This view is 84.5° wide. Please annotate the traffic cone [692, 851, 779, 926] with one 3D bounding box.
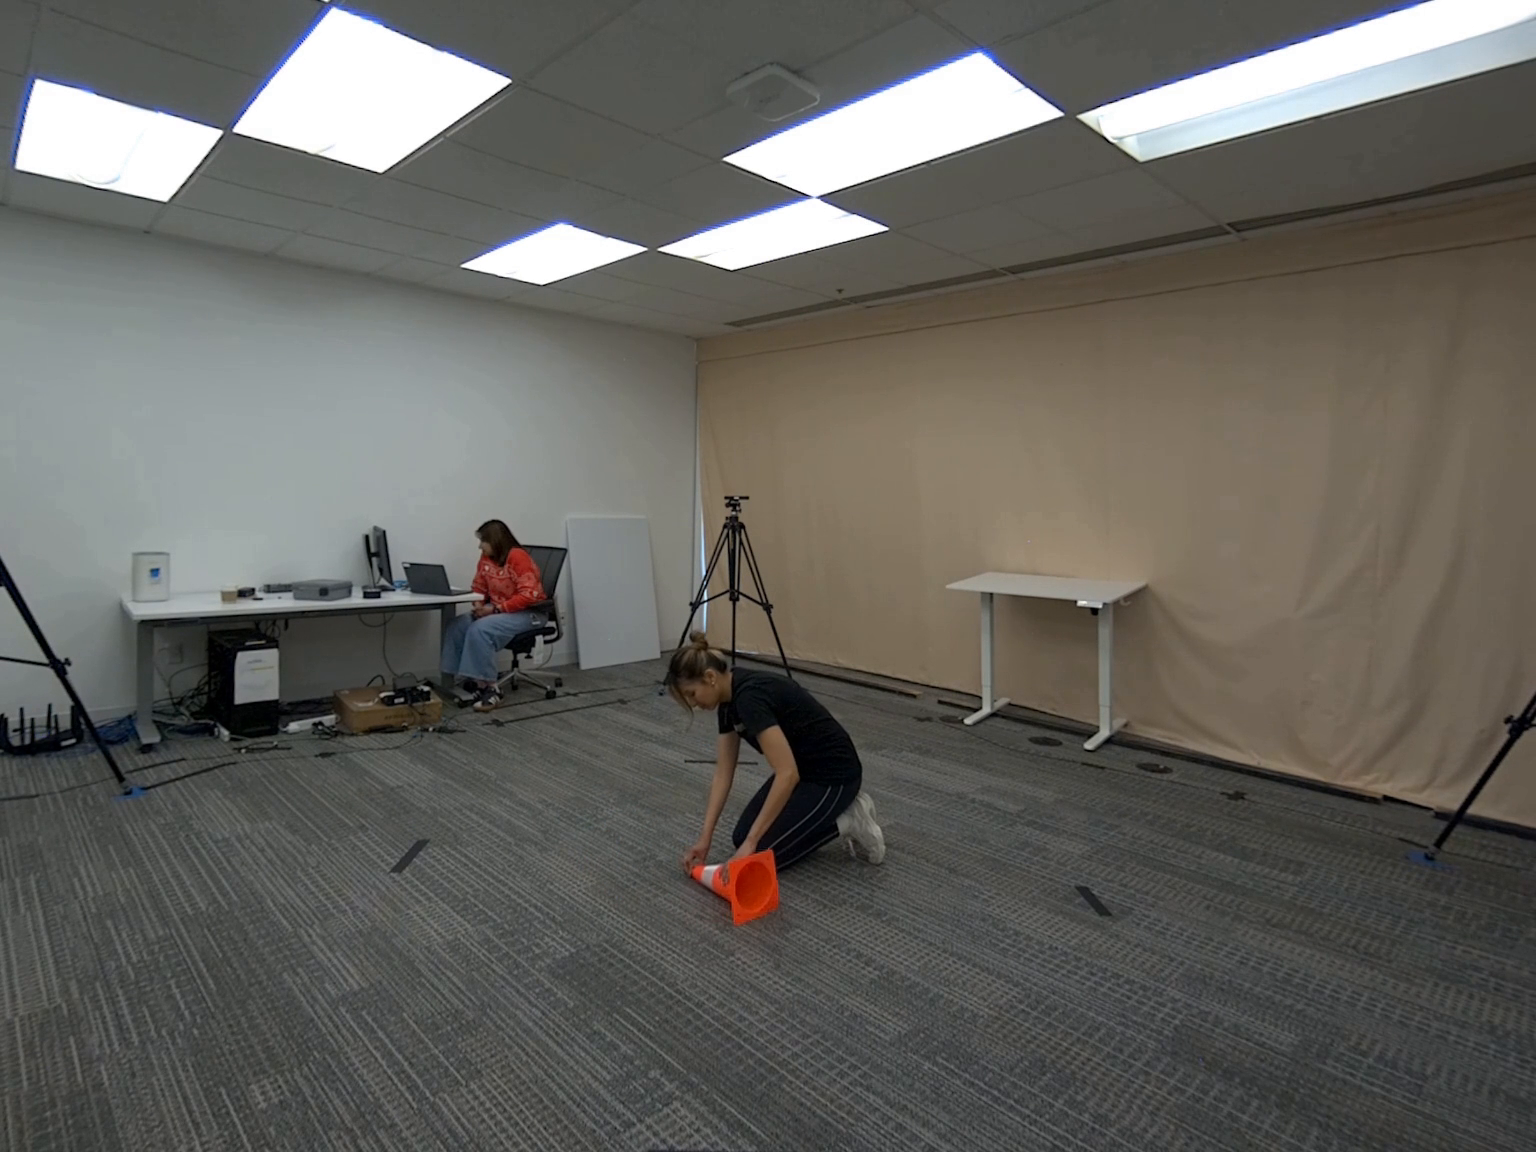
[{"bbox_3d":[-0.179,1.072,2.946,0.200,0.205,0.390,-1,-9,-41],"label":"traffic cone"}]
